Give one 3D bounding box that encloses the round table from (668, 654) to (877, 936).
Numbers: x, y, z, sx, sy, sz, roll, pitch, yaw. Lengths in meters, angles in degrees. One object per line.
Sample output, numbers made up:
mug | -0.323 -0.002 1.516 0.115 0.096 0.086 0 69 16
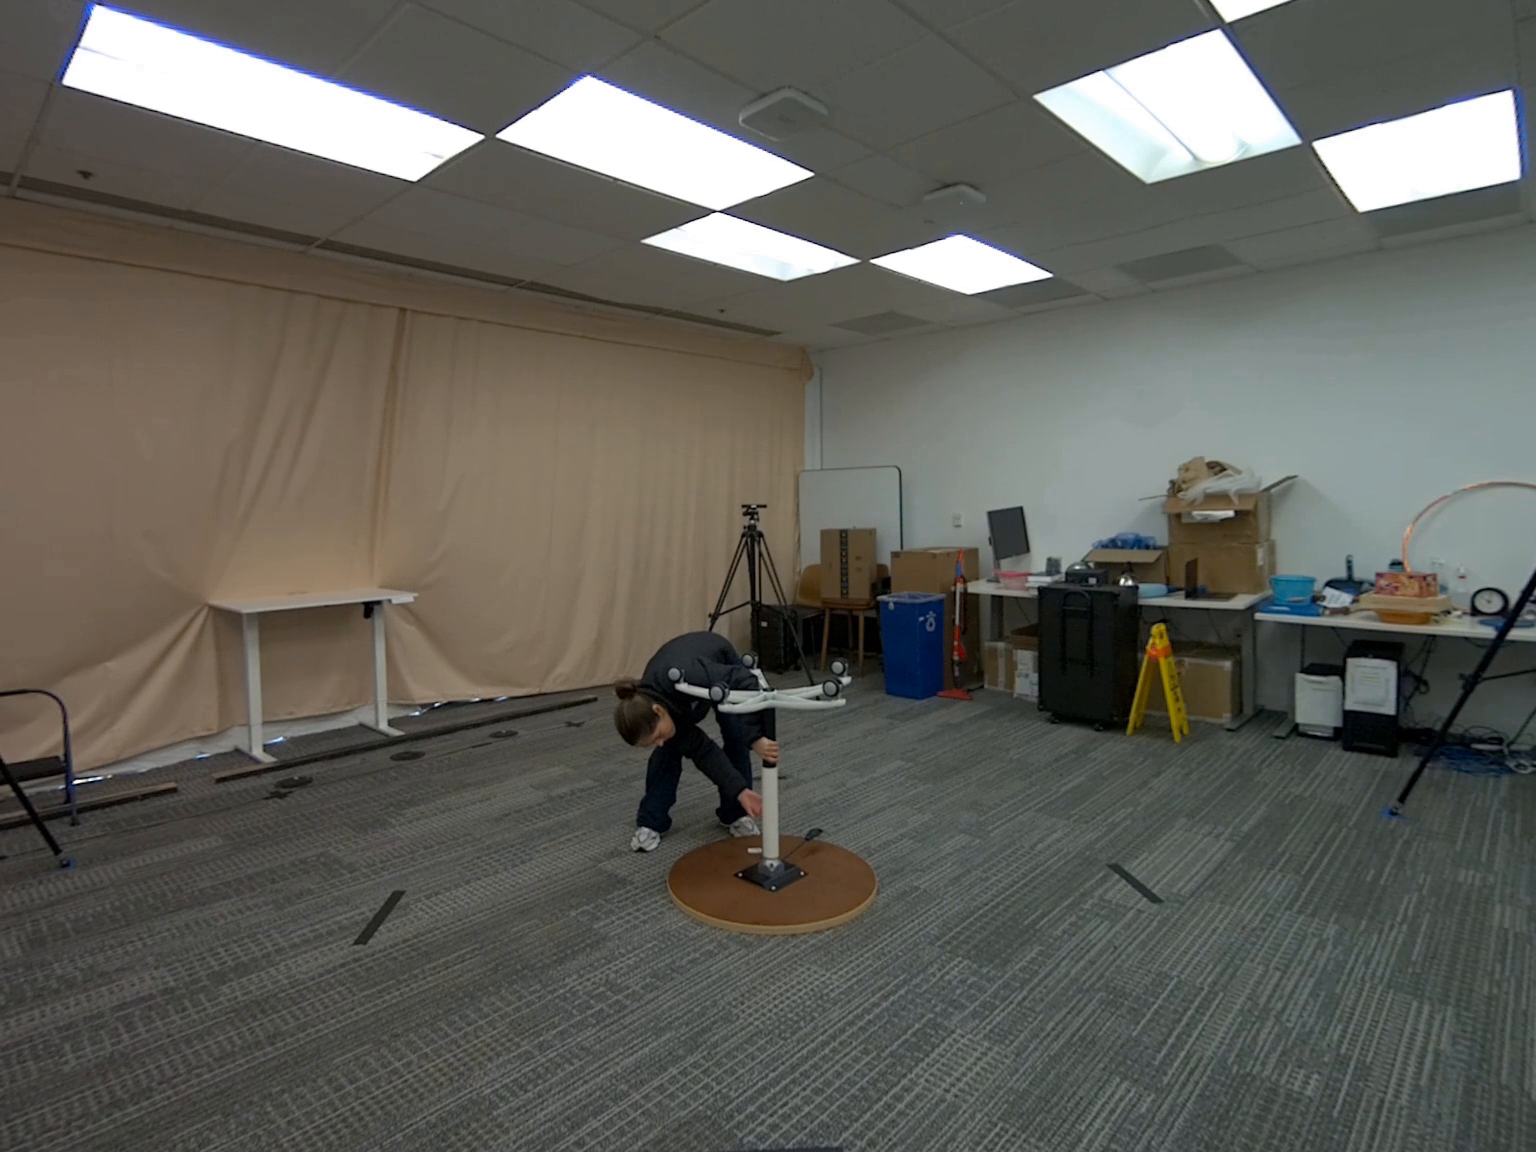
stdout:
round table | 0.030 0.723 3.087 0.784 0.784 0.788 -2 4 -2
